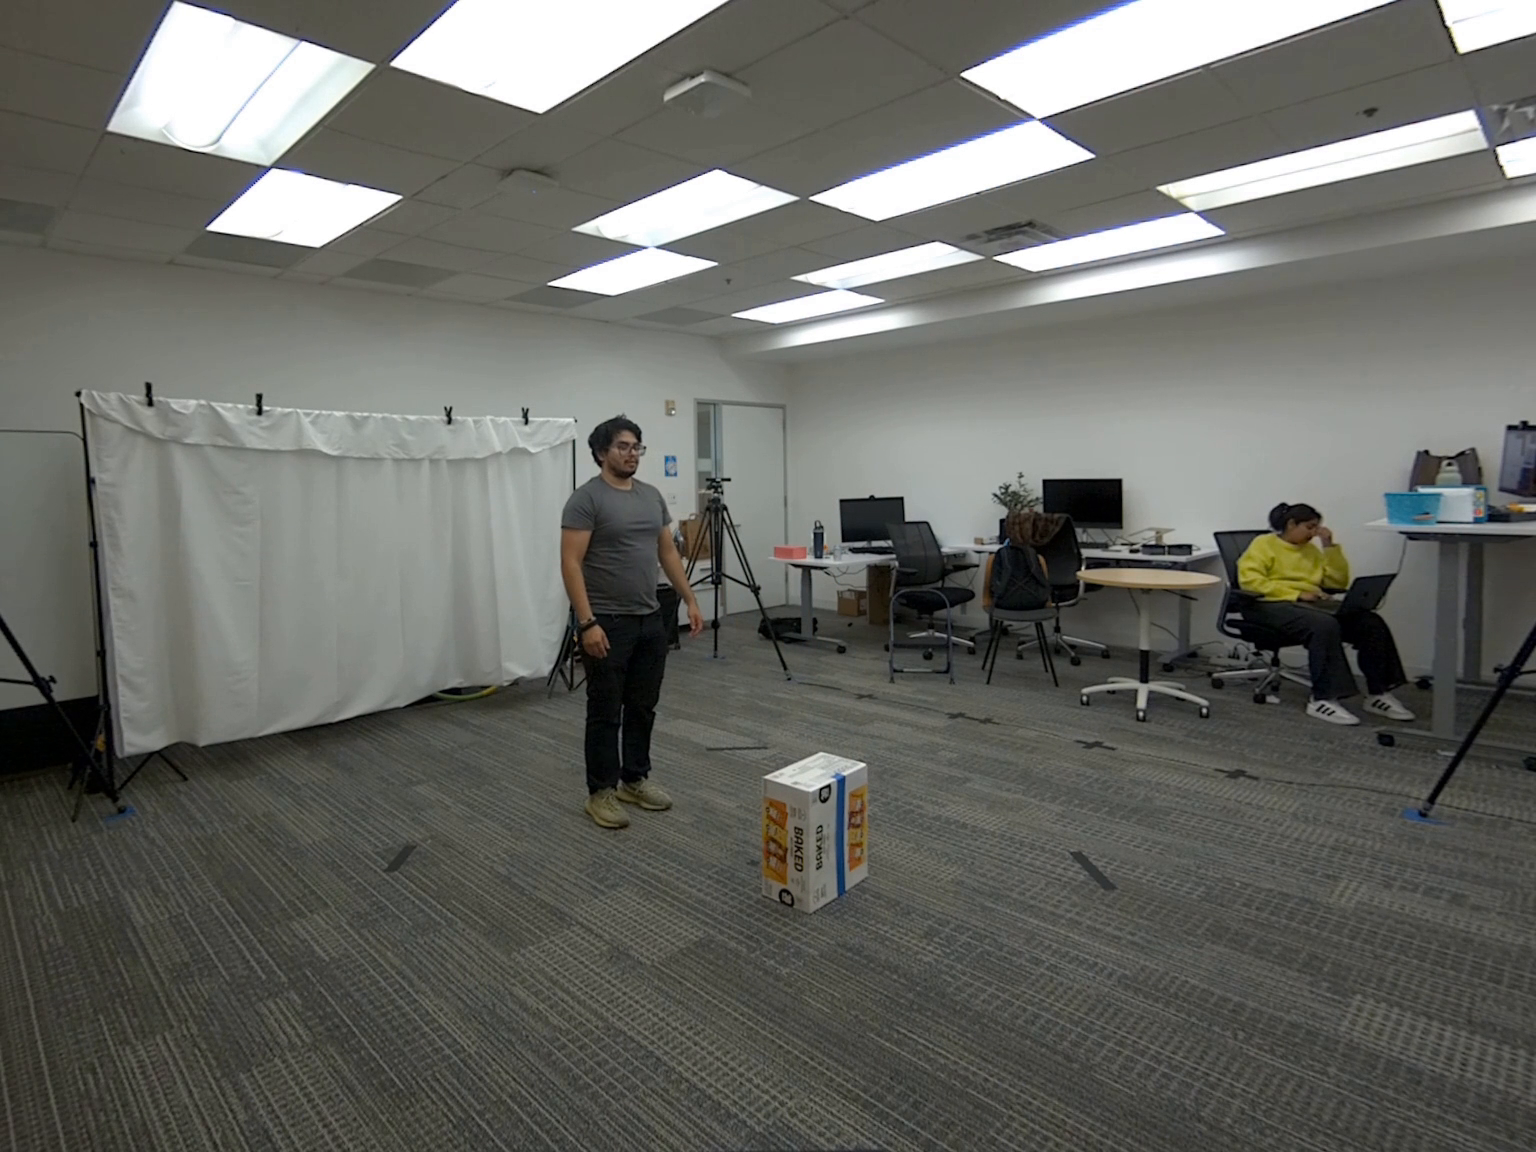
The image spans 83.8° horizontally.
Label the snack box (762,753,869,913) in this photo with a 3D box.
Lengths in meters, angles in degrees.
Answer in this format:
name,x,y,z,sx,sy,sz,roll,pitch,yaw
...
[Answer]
name,x,y,z,sx,sy,sz,roll,pitch,yaw
snack box,0.164,0.858,2.904,0.212,0.403,0.332,3,6,40
